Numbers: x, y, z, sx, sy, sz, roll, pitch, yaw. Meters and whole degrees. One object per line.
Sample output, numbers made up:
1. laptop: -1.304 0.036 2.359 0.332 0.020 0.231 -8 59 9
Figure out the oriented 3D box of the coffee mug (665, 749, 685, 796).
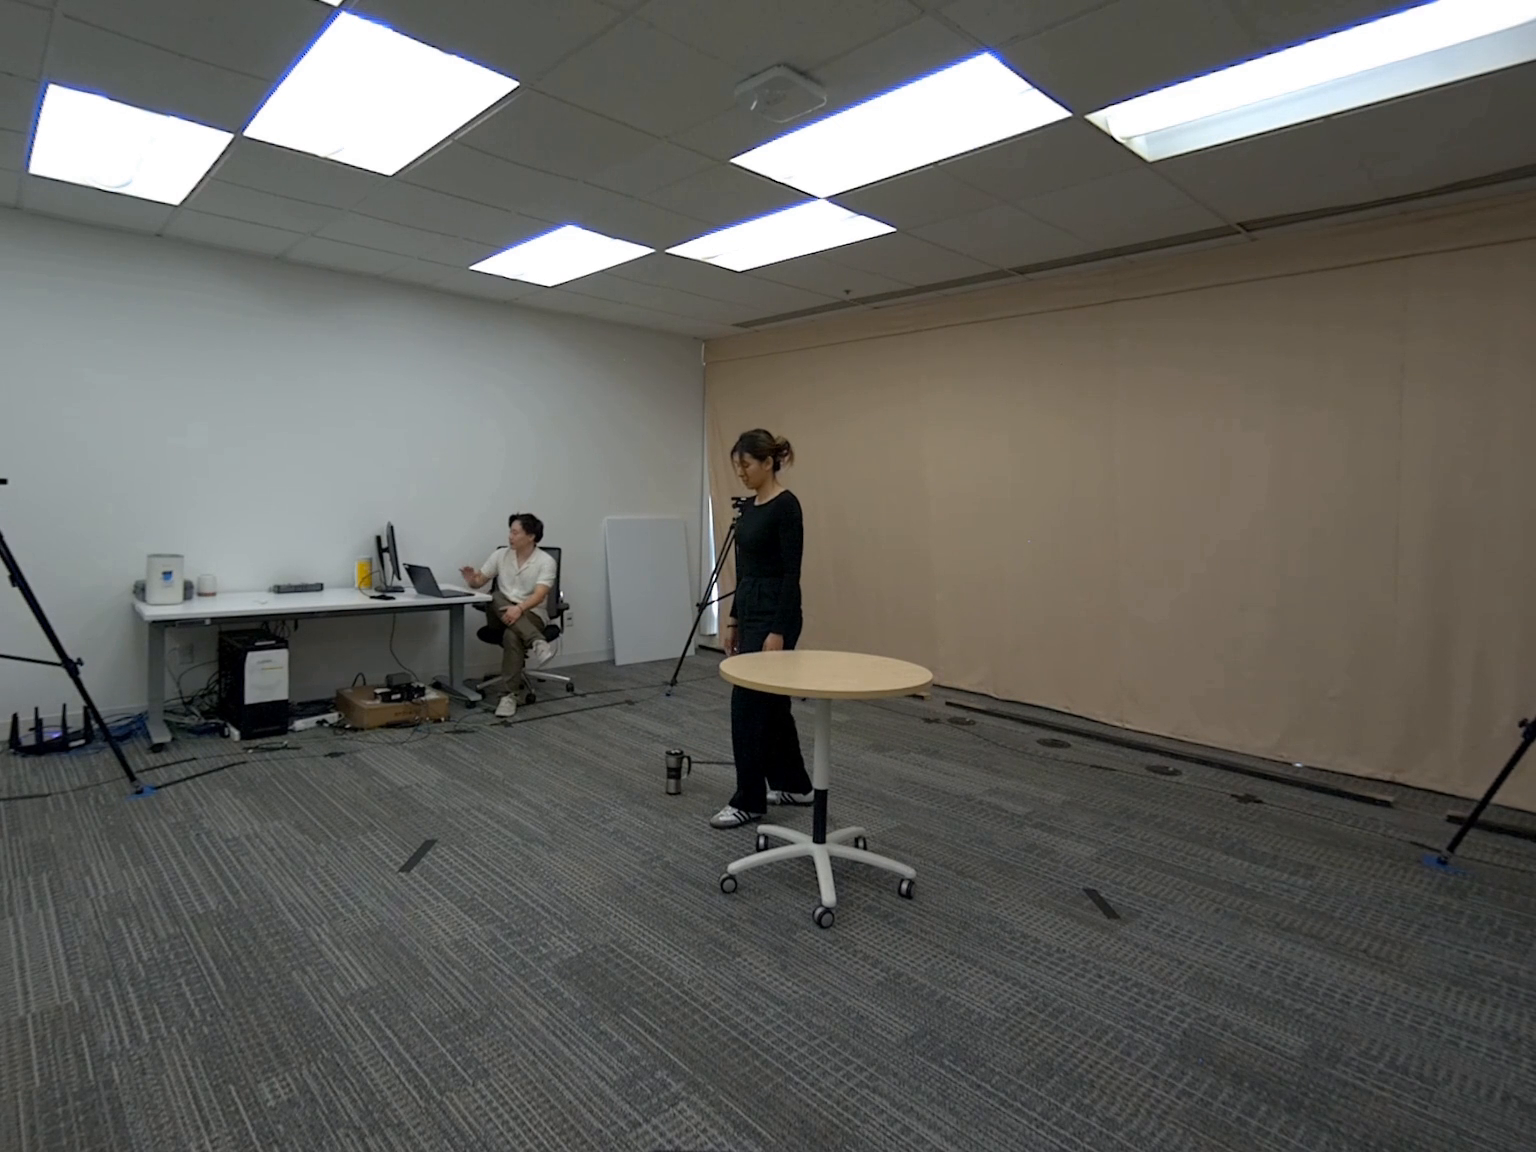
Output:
1. coffee mug: -0.436 0.922 3.957 0.086 0.203 0.125 5 -5 -42
